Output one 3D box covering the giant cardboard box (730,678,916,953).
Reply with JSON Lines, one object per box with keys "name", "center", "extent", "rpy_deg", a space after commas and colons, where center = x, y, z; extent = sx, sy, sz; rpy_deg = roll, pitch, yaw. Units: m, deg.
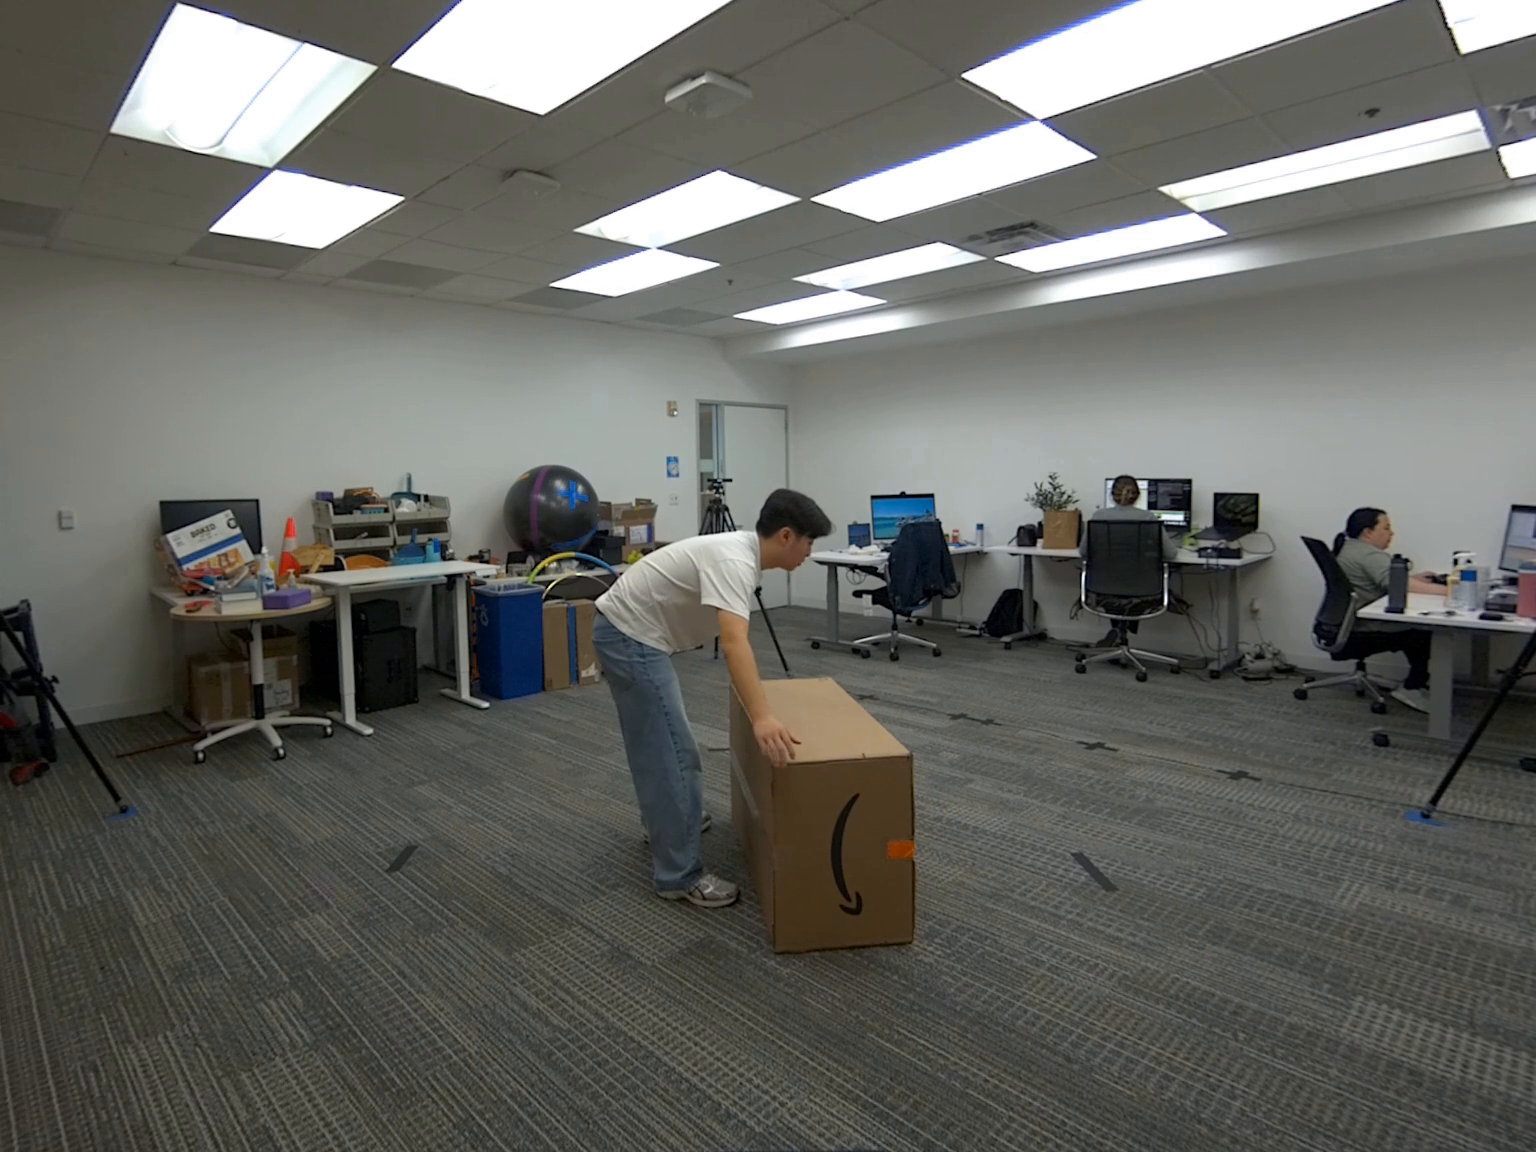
{"name": "giant cardboard box", "center": [0.149, 0.759, 3.010], "extent": [0.423, 0.575, 1.038], "rpy_deg": [-2, 6, -9]}
